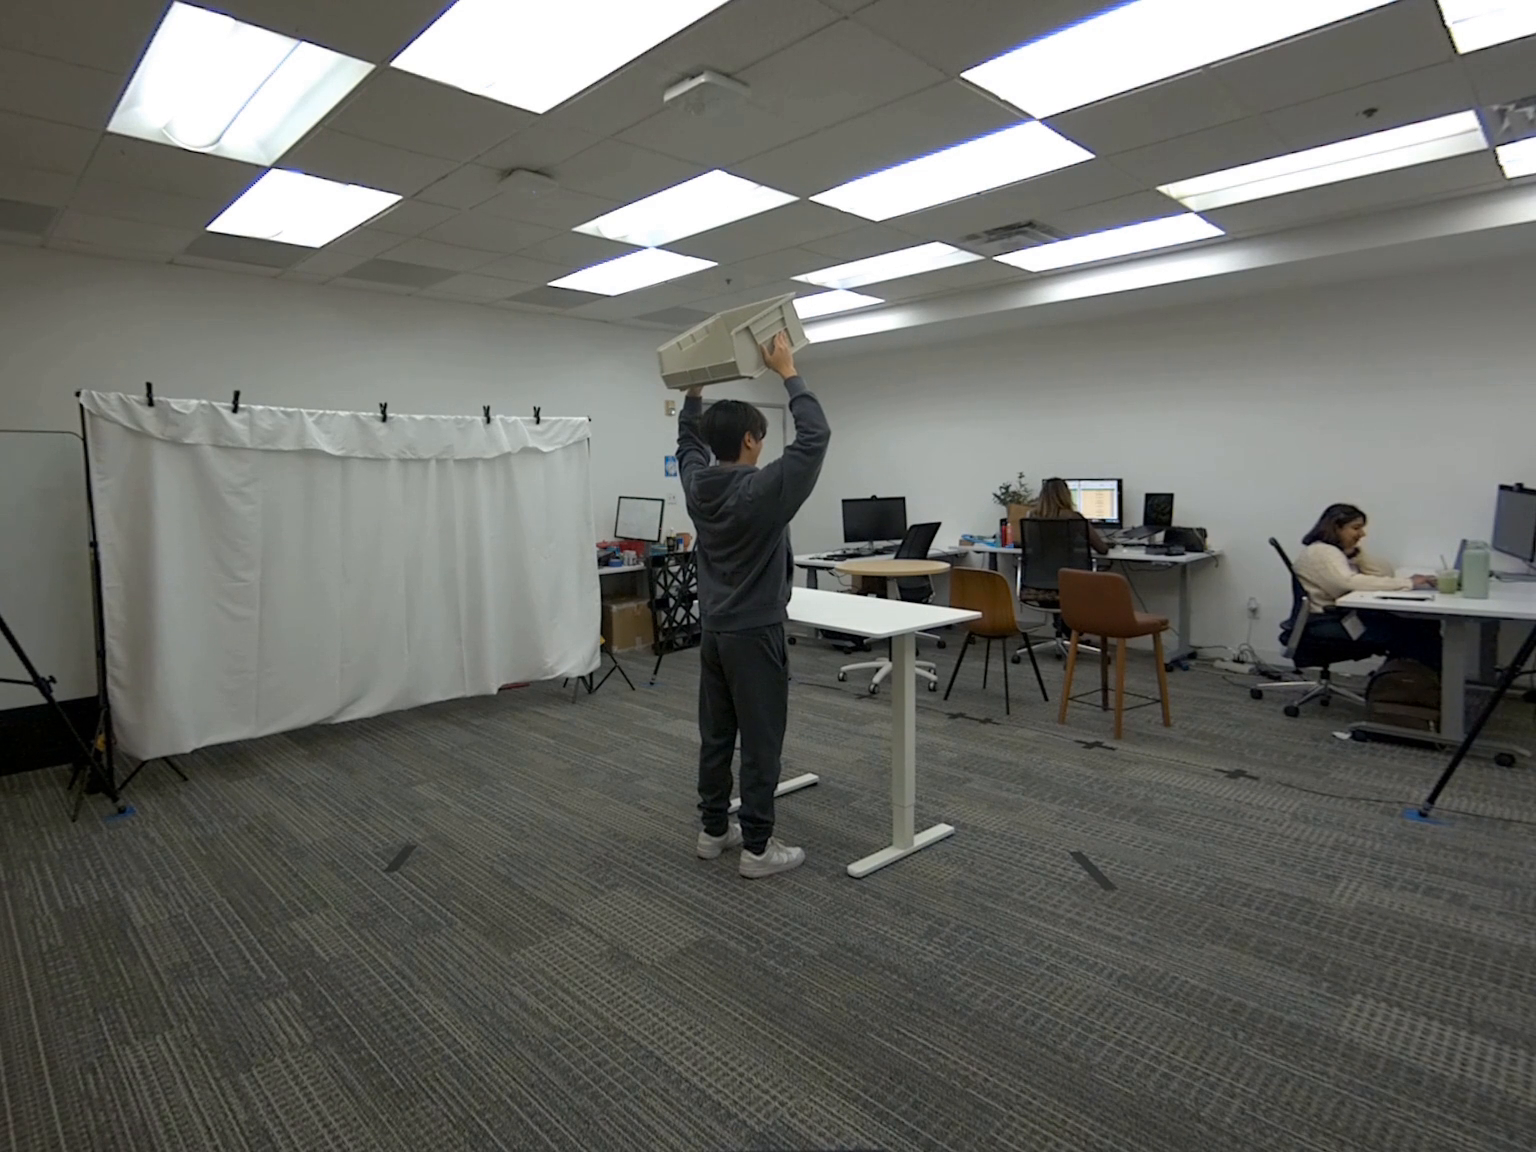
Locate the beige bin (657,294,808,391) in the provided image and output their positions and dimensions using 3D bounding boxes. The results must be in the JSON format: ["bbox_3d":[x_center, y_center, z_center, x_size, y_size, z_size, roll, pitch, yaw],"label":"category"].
[{"bbox_3d":[-0.125,-0.816,3.049,0.435,0.184,0.375,3,35,48],"label":"beige bin"}]
